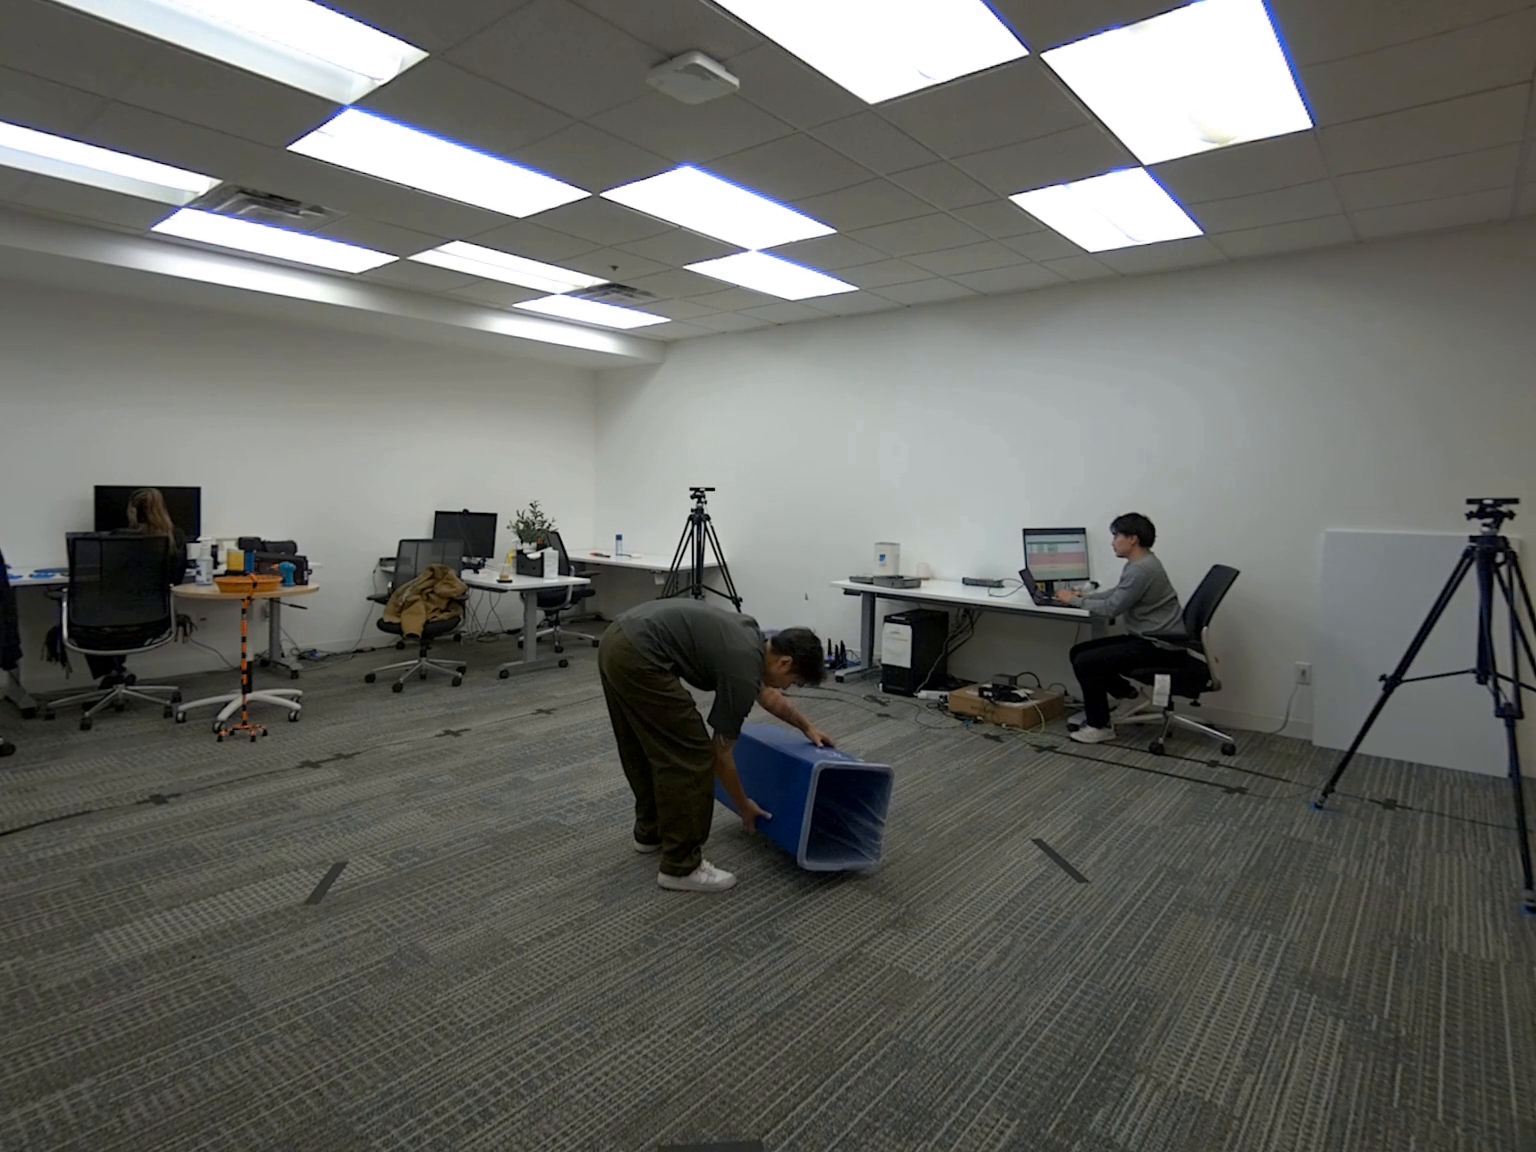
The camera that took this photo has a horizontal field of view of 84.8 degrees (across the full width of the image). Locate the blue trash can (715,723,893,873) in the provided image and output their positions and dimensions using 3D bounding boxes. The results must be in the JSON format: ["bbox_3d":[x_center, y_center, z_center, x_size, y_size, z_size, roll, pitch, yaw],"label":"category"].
[{"bbox_3d":[0.087,0.819,3.299,0.366,0.375,0.736,11,-2,-32],"label":"blue trash can"}]
